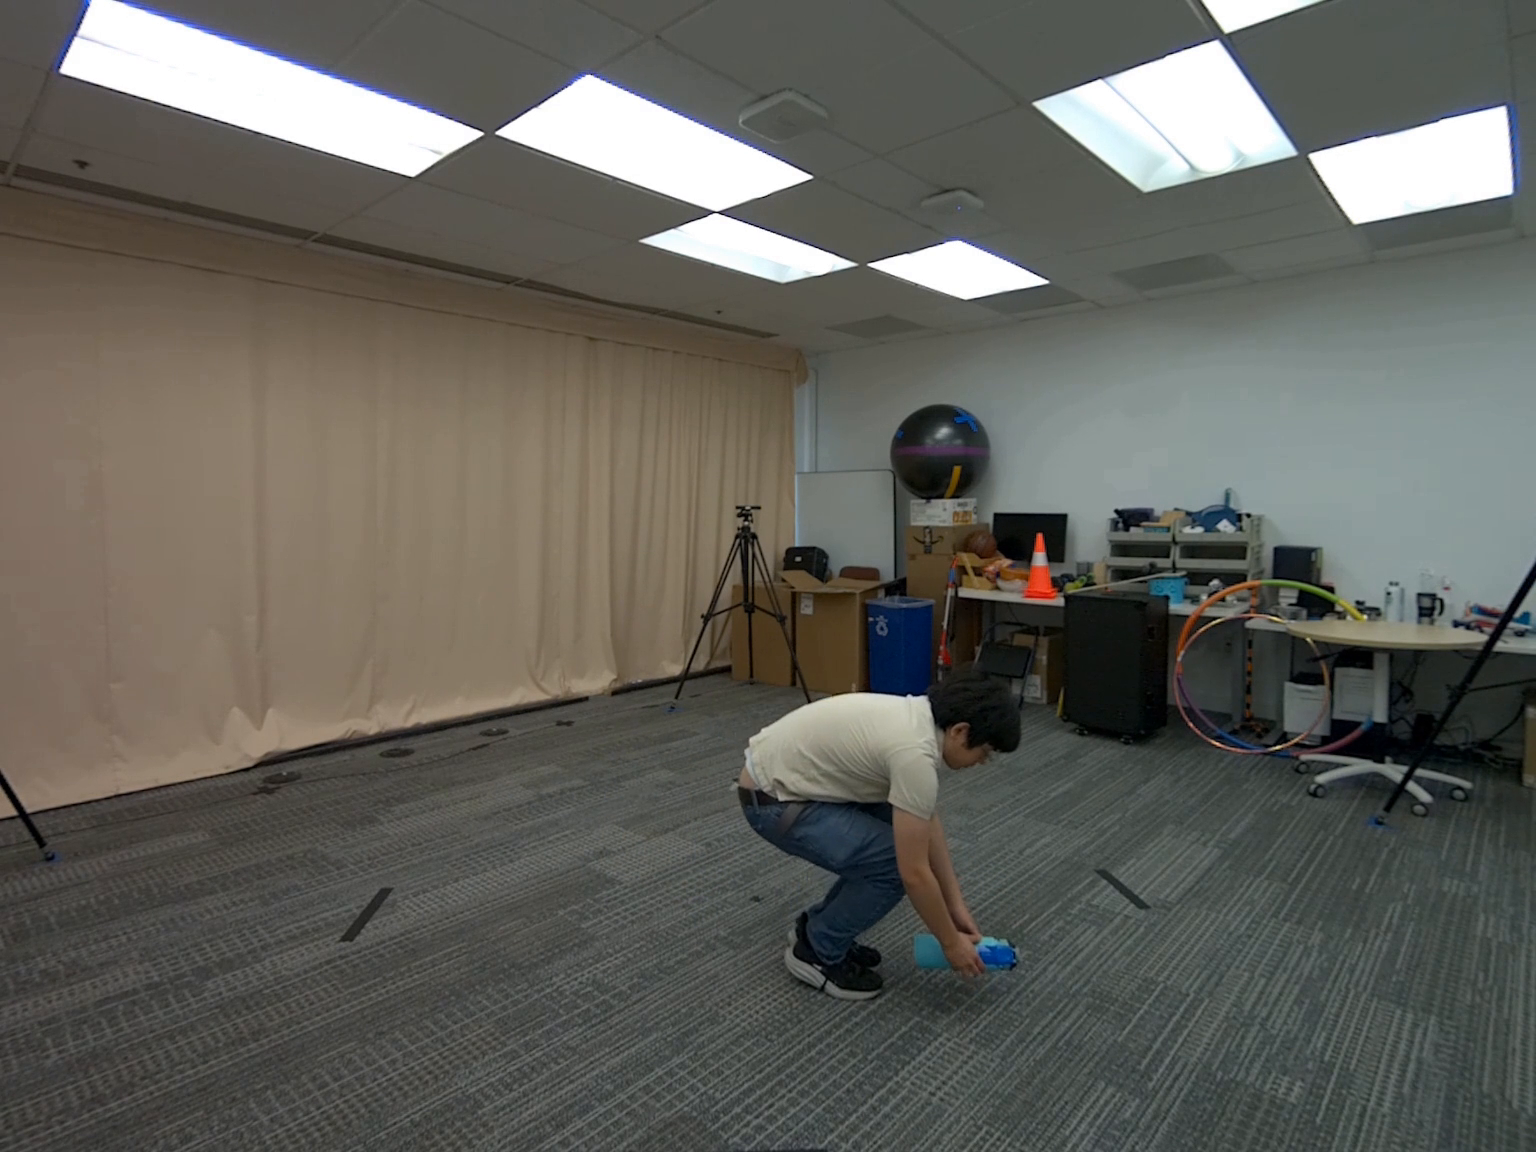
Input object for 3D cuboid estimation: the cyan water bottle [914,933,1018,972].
[{"bbox_3d":[0.571,1.071,2.371,0.289,0.092,0.091,-6,2,19],"label":"cyan water bottle"}]
